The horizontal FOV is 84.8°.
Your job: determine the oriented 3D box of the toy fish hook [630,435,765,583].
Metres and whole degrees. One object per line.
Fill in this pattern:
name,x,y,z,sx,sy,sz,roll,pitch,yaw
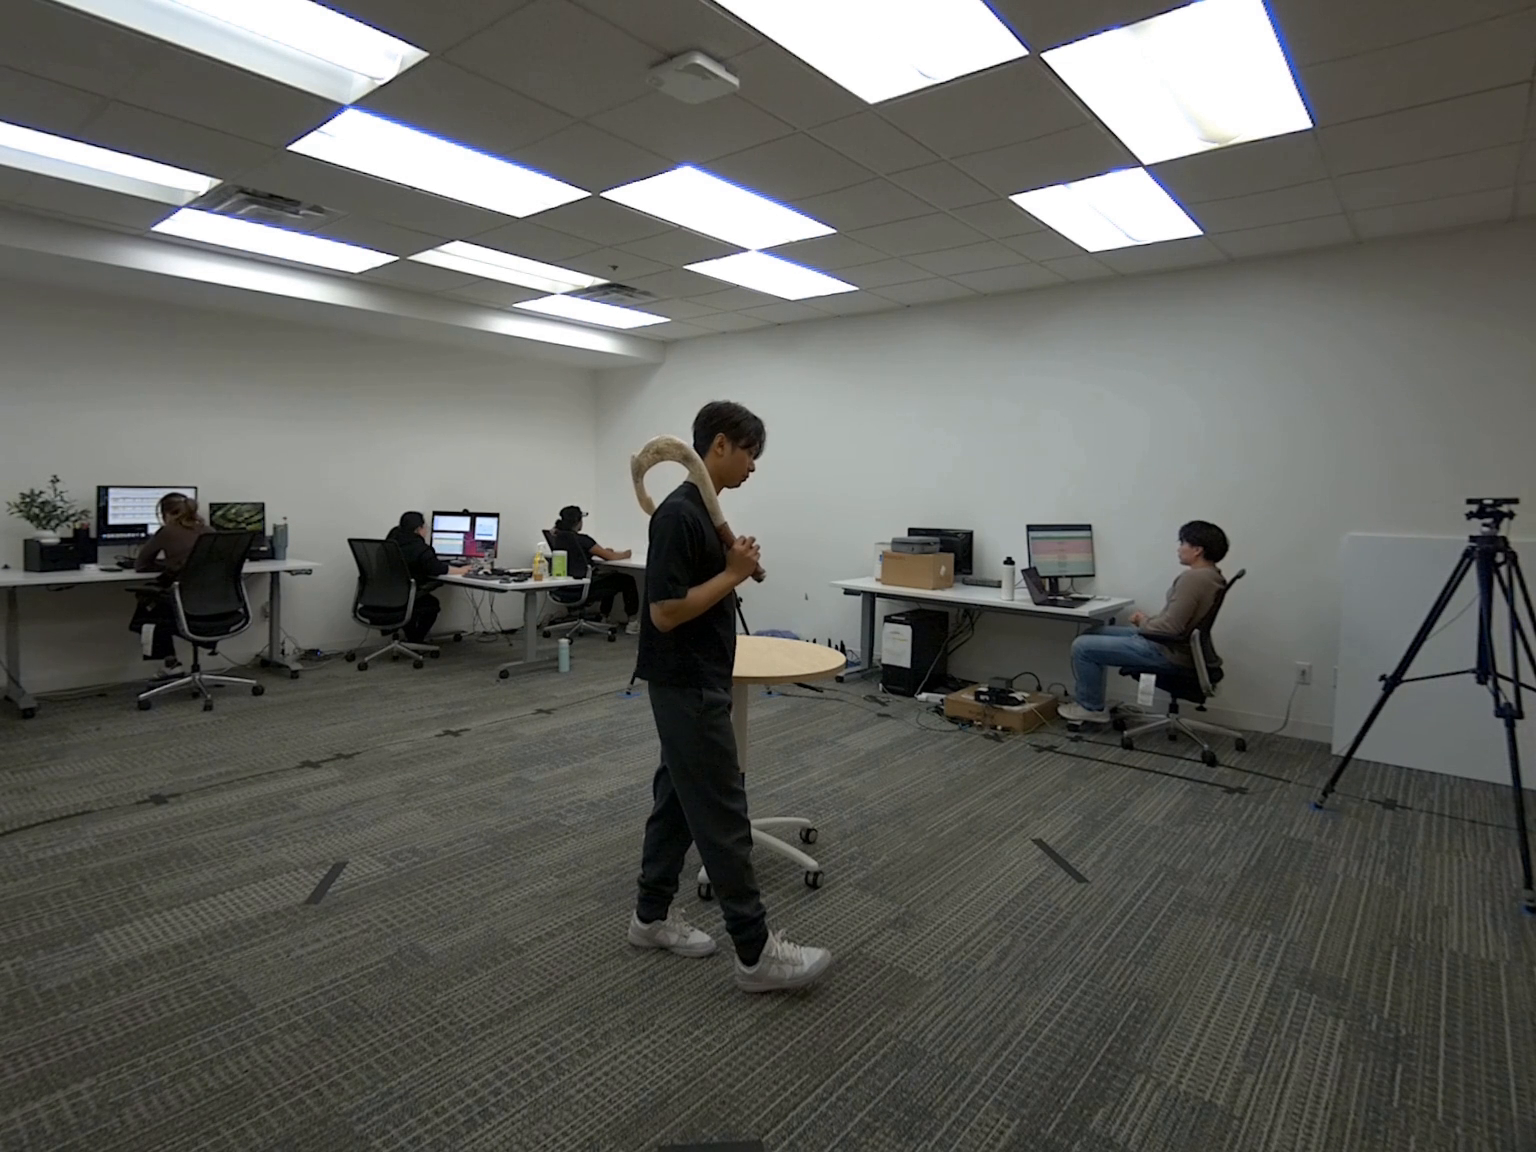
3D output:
toy fish hook,-0.207,-0.168,2.405,0.226,0.506,0.048,-33,1,18
